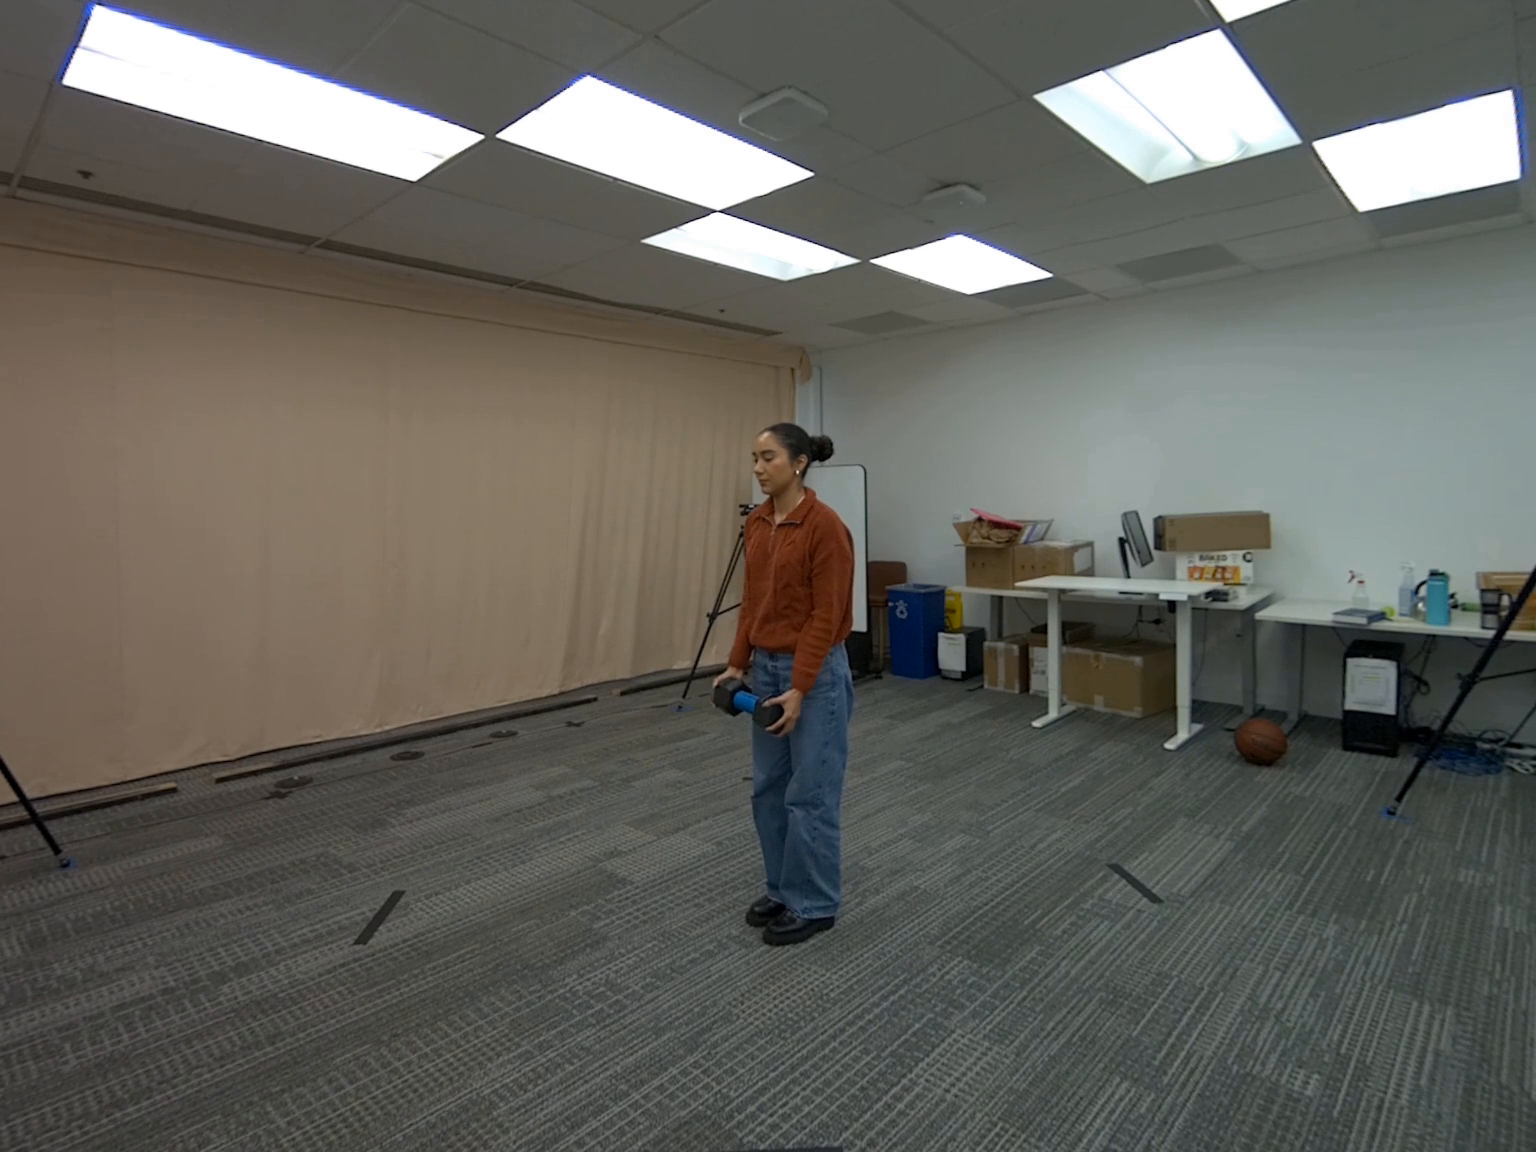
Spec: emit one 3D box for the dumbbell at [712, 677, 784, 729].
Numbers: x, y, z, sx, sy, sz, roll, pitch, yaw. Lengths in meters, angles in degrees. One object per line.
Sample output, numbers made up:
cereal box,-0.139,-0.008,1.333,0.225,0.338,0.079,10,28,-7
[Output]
dumbbell,-0.041,0.404,2.681,0.105,0.123,0.303,8,2,-34
